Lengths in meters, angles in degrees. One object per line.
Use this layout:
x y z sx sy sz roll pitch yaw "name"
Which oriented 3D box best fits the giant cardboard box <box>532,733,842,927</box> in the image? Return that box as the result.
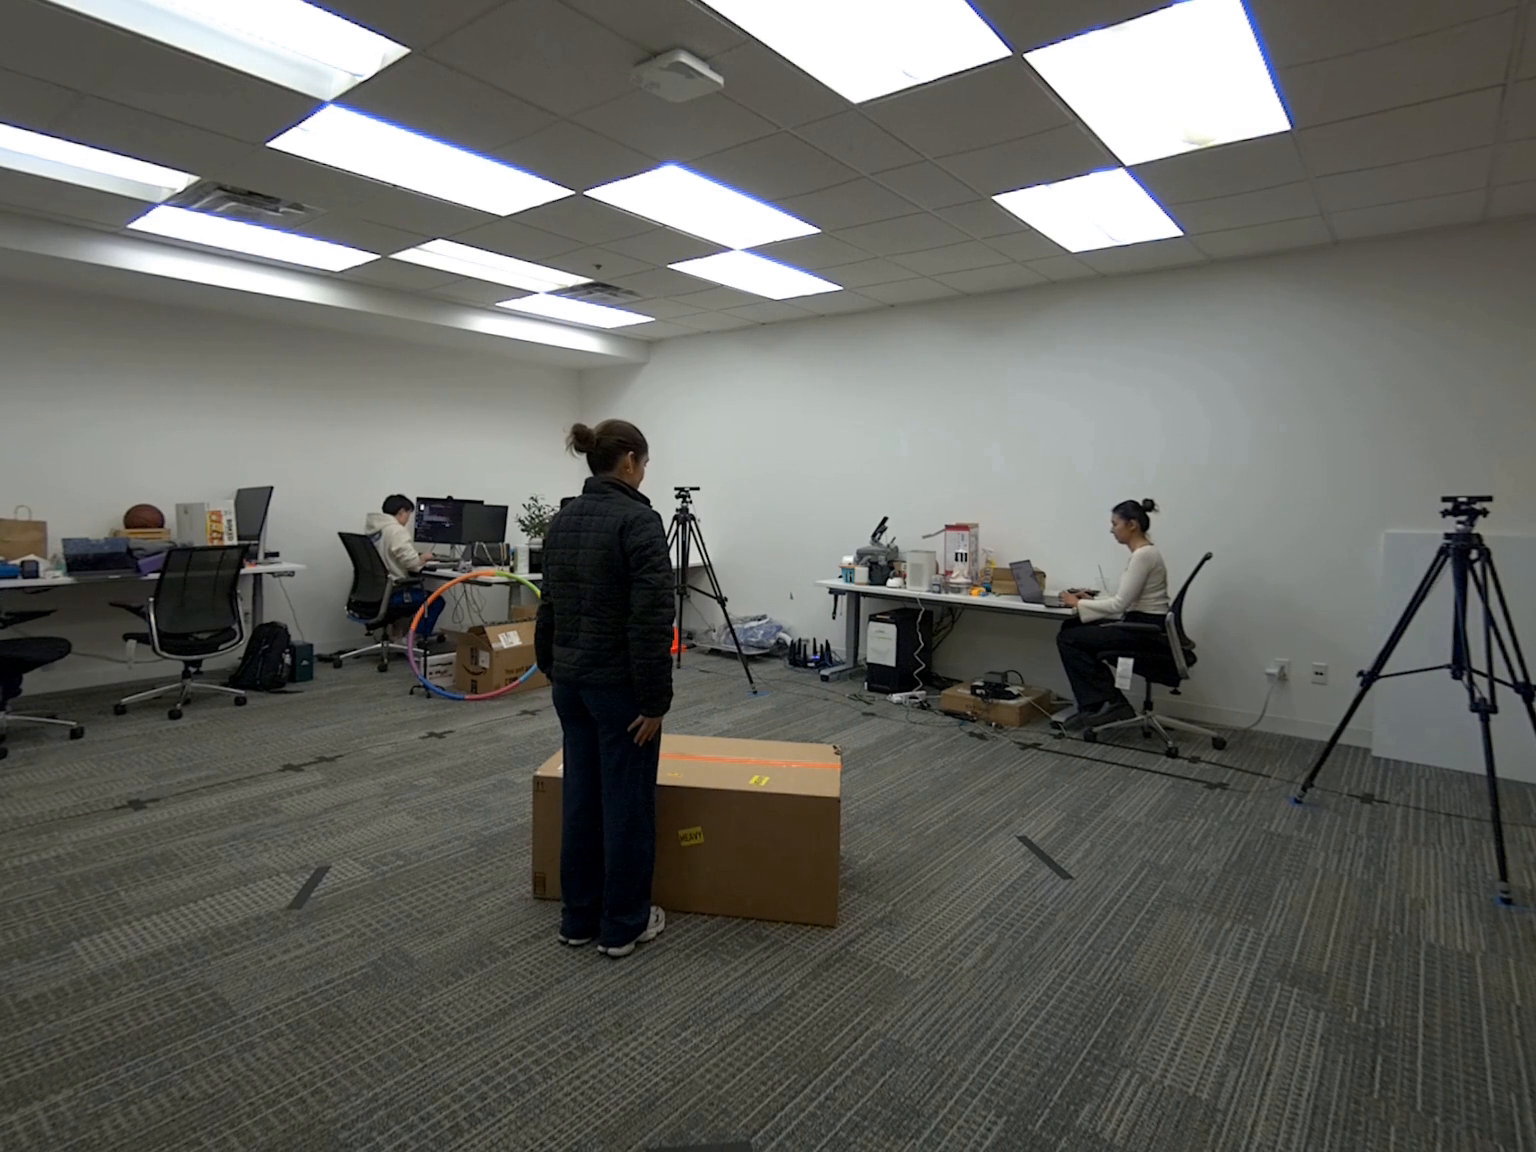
-0.245 0.852 3.062 1.036 0.424 0.574 2 5 8 "giant cardboard box"
